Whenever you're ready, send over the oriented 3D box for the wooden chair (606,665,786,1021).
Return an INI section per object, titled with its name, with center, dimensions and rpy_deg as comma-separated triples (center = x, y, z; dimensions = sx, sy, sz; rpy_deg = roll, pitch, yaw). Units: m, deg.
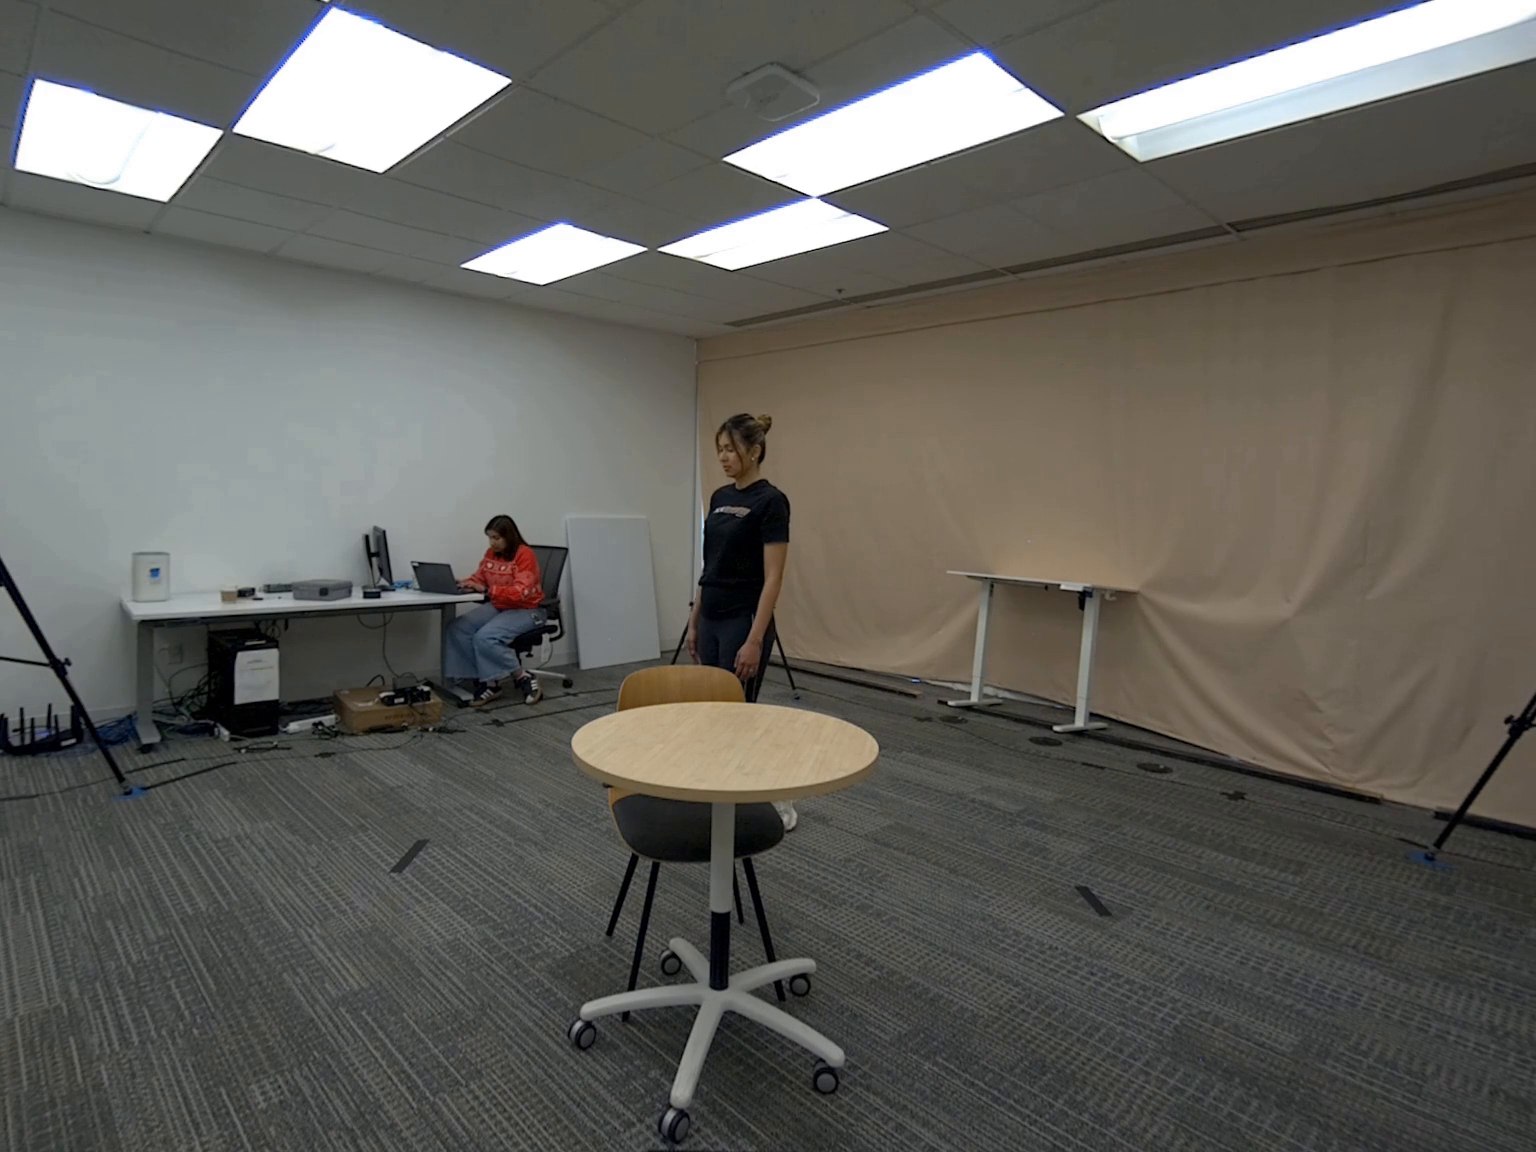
[wooden chair]
center = -0.222, 0.734, 2.450
dimensions = 0.472, 0.878, 0.529
rpy_deg = 1, 0, -16
